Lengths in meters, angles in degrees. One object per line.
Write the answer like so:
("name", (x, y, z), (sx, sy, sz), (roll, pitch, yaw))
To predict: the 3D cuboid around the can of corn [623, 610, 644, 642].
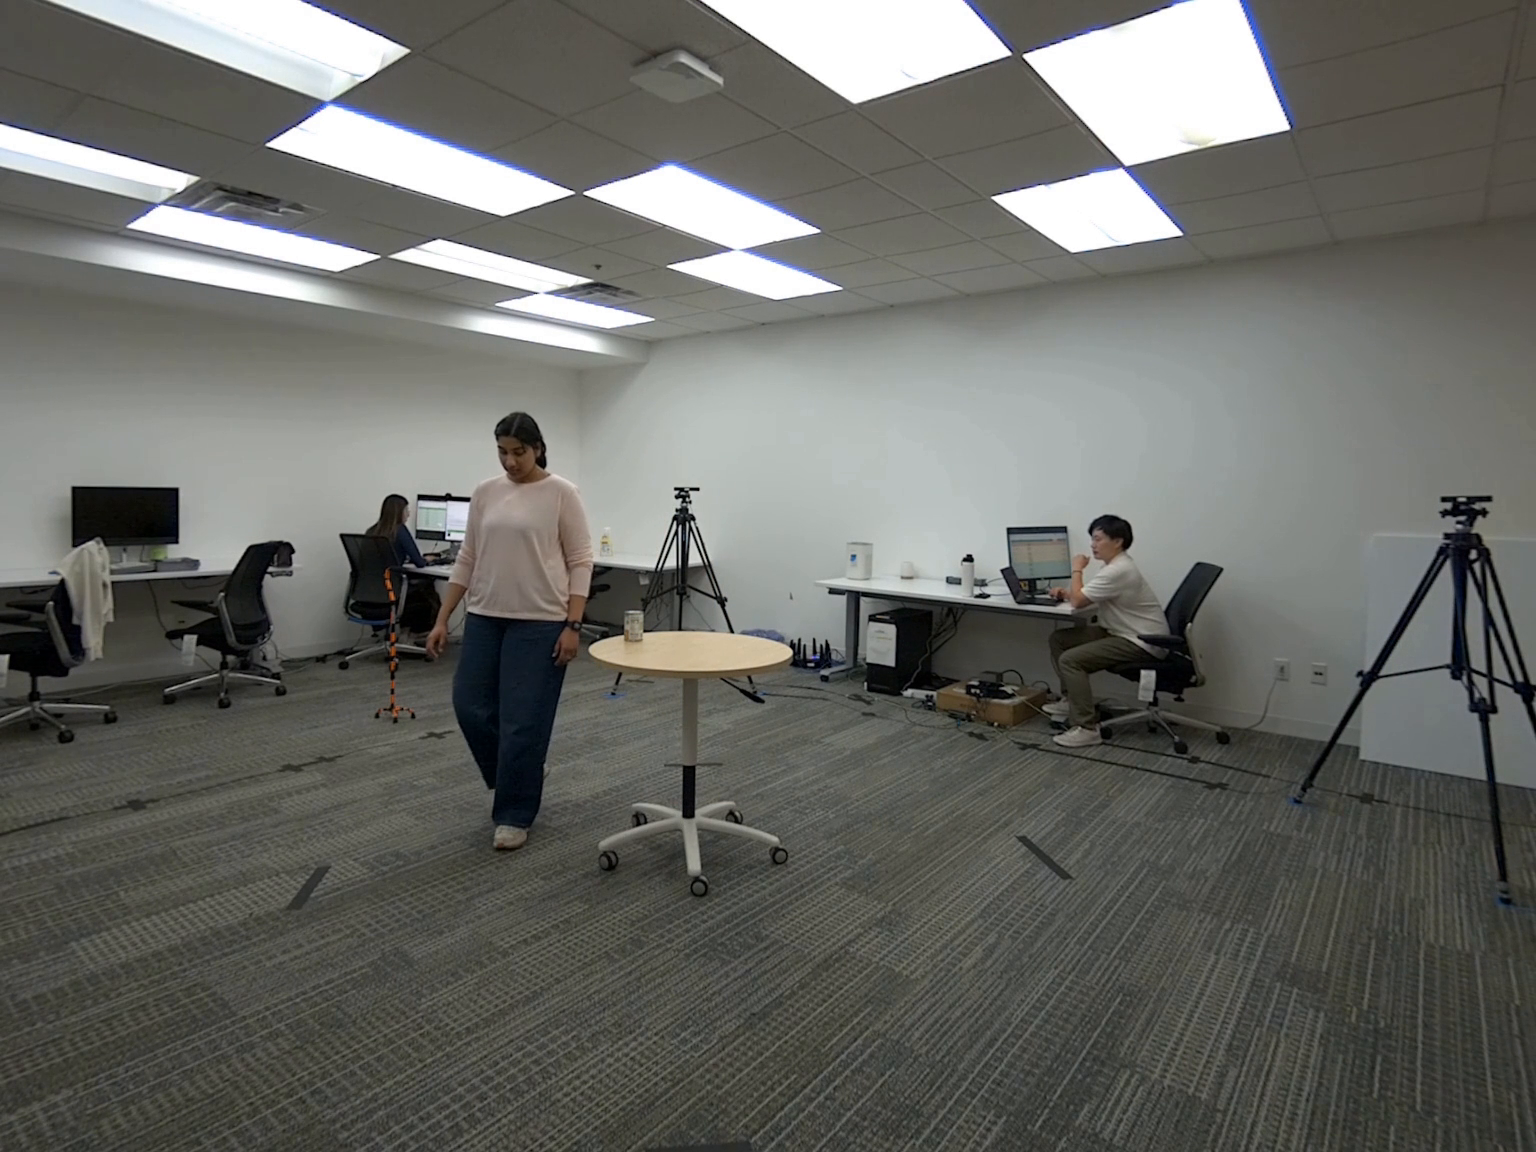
("can of corn", (-0.545, 0.196, 3.352), (0.074, 0.110, 0.074), (1, 5, -2))
